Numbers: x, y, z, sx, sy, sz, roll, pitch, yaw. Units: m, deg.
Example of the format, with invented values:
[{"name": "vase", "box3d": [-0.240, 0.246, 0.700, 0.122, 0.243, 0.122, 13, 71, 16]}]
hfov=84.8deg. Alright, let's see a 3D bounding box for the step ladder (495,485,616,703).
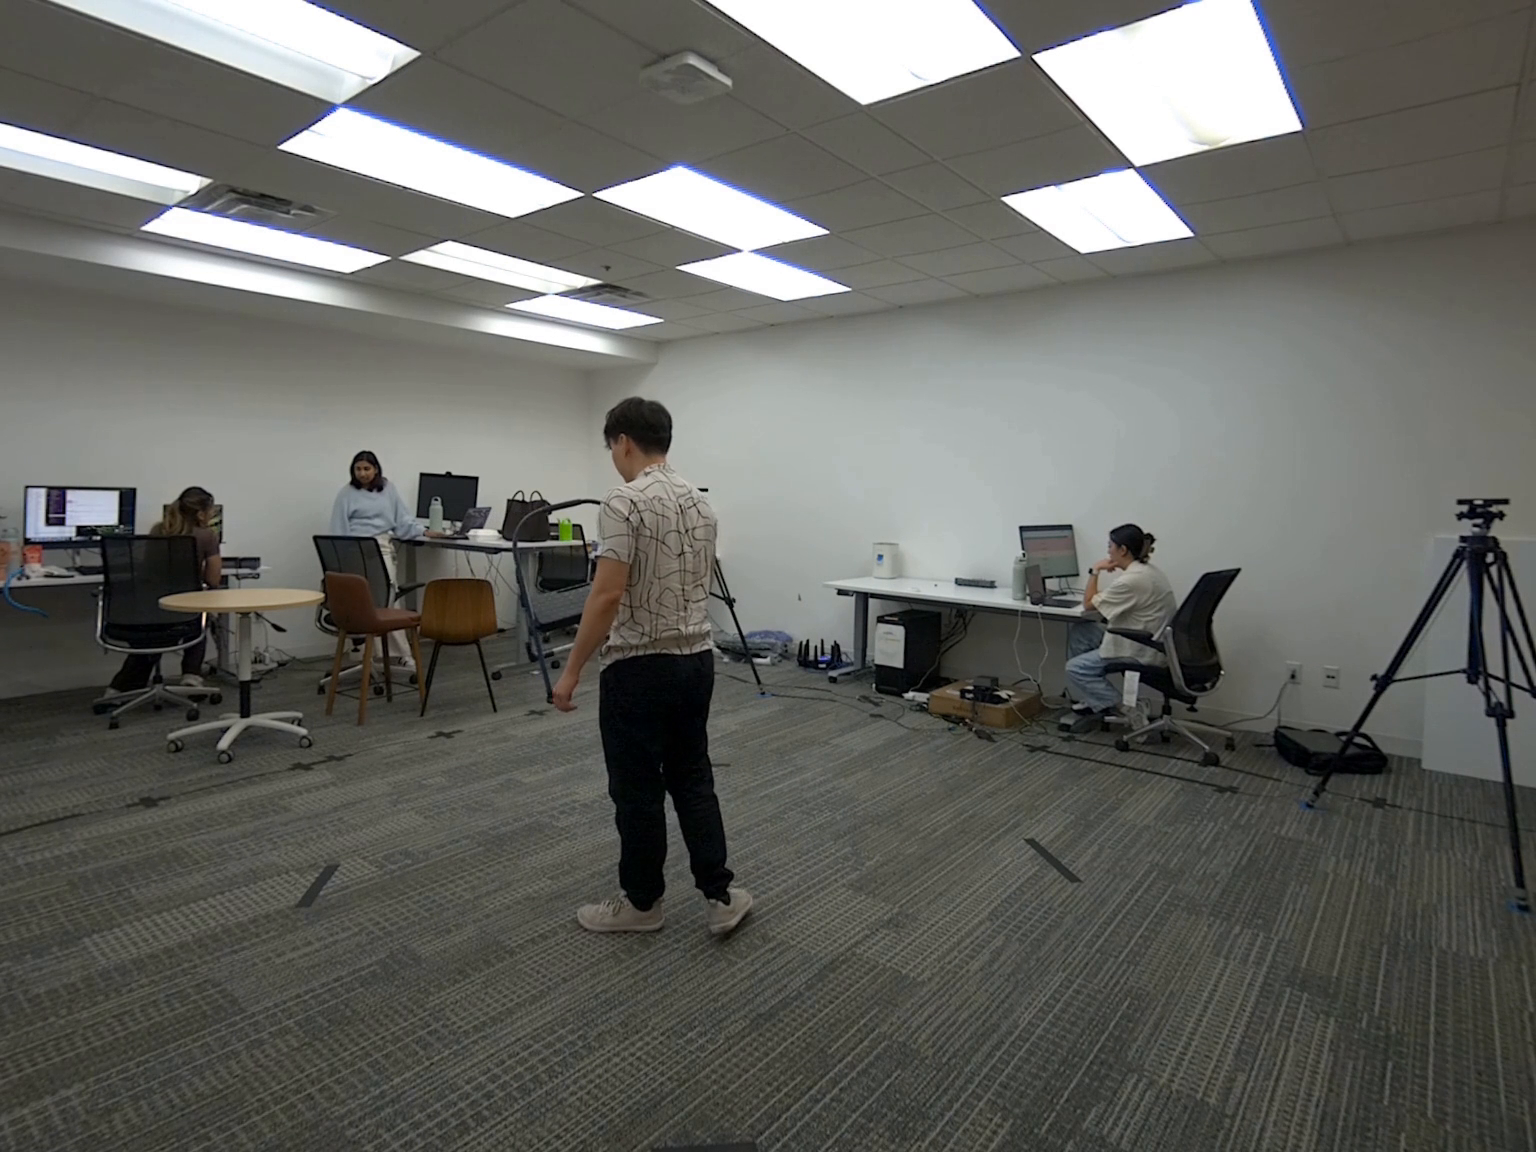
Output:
[{"name": "step ladder", "box3d": [-0.670, 0.046, 3.004, 0.423, 0.594, 0.362, -15, 22, -23]}]
